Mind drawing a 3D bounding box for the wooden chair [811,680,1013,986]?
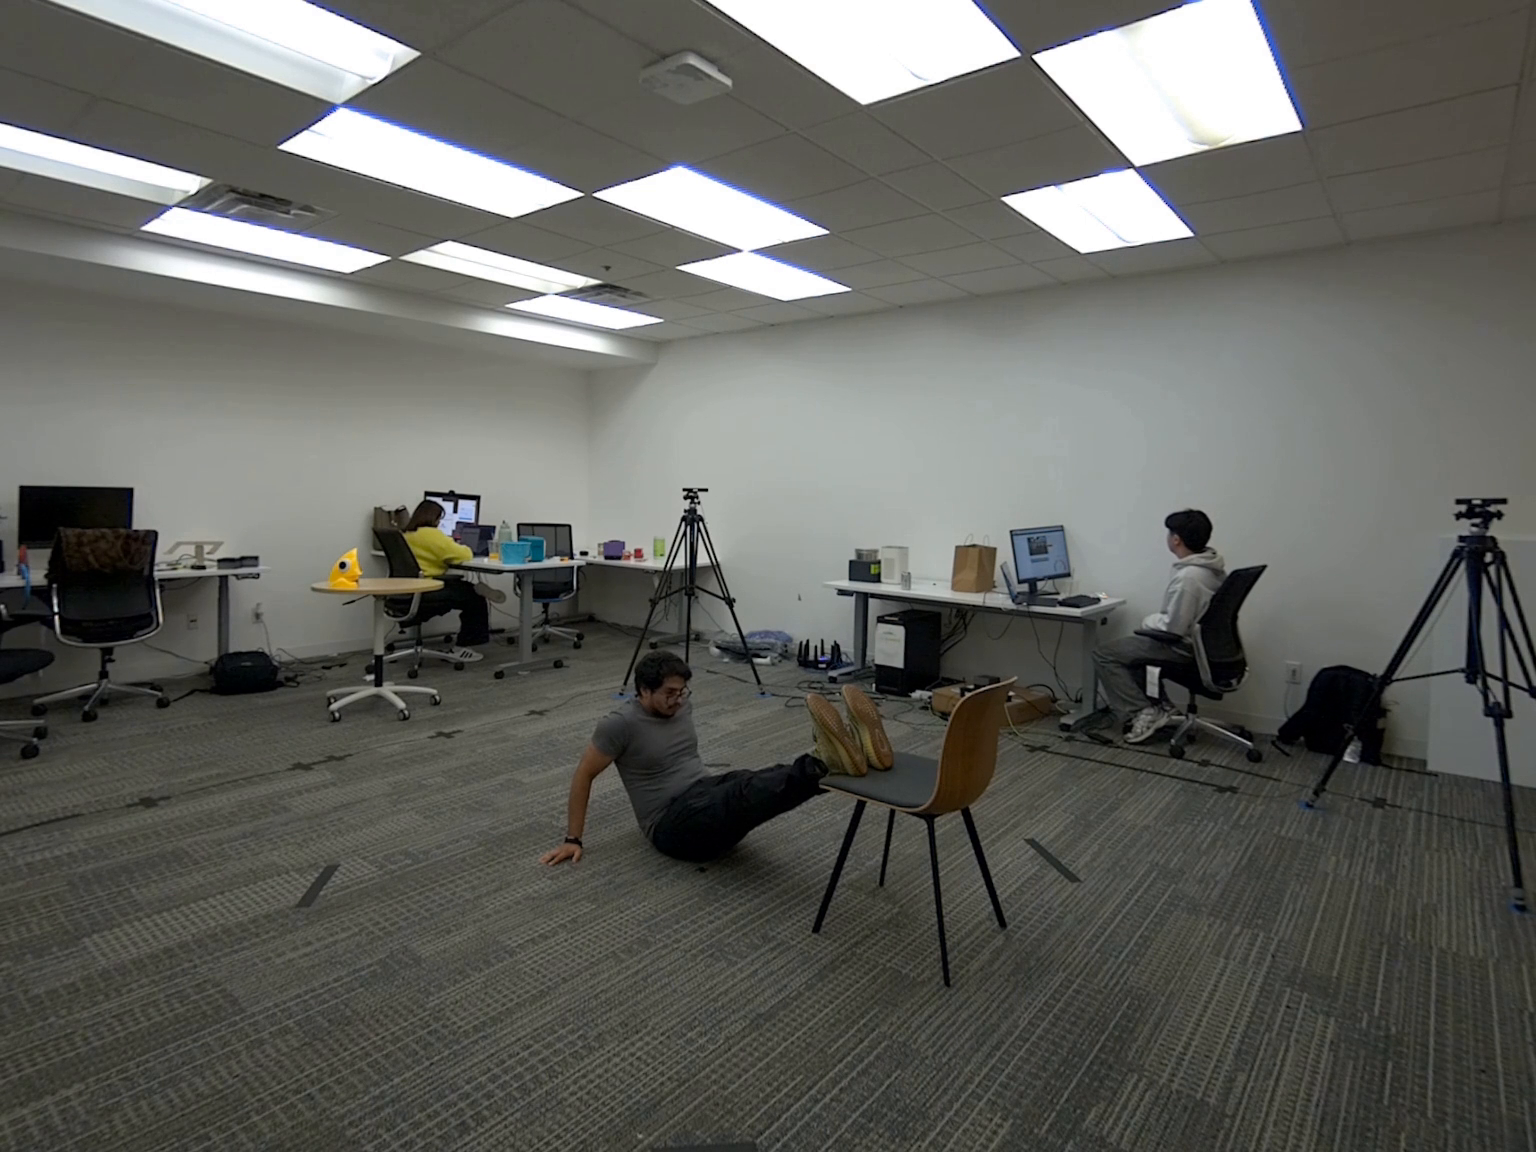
[{"bbox_3d":[0.454,0.701,2.691,0.541,0.873,0.464,9,7,37],"label":"wooden chair"}]
